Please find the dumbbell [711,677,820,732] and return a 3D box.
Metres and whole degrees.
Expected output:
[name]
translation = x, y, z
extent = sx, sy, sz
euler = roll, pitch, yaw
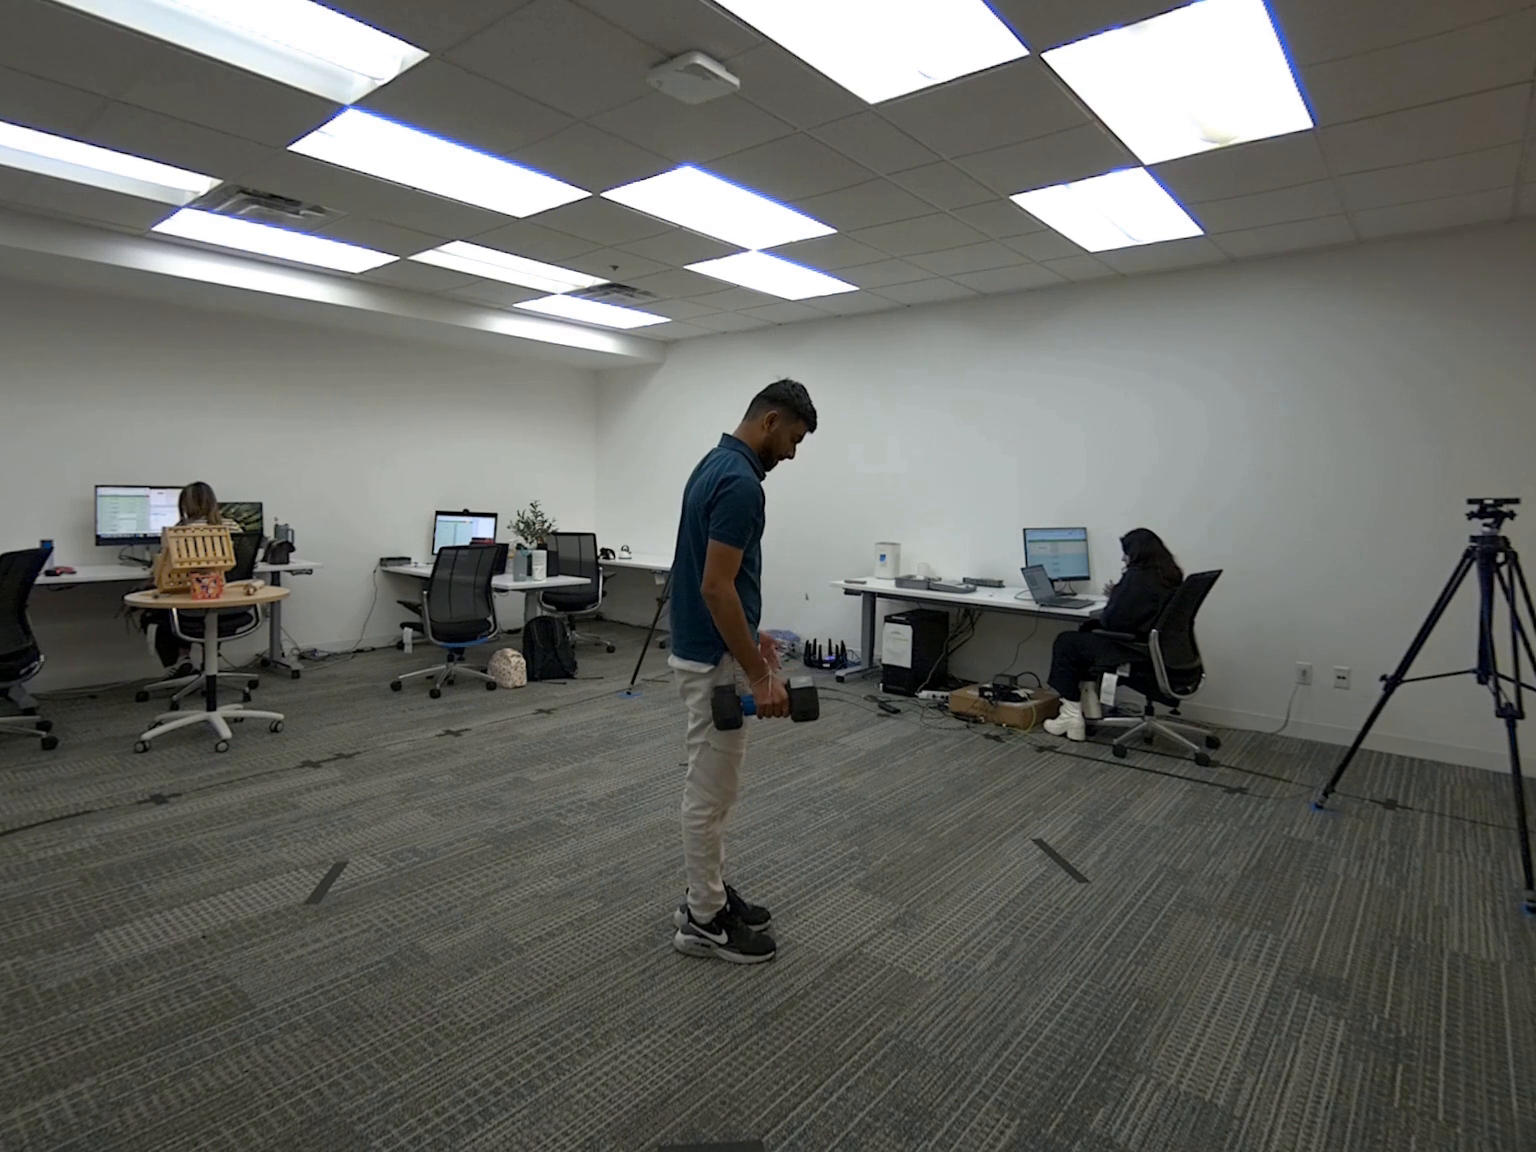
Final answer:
[dumbbell]
translation = -0.009, 0.346, 2.348
extent = 0.294, 0.112, 0.119
euler = -7, -41, 1
